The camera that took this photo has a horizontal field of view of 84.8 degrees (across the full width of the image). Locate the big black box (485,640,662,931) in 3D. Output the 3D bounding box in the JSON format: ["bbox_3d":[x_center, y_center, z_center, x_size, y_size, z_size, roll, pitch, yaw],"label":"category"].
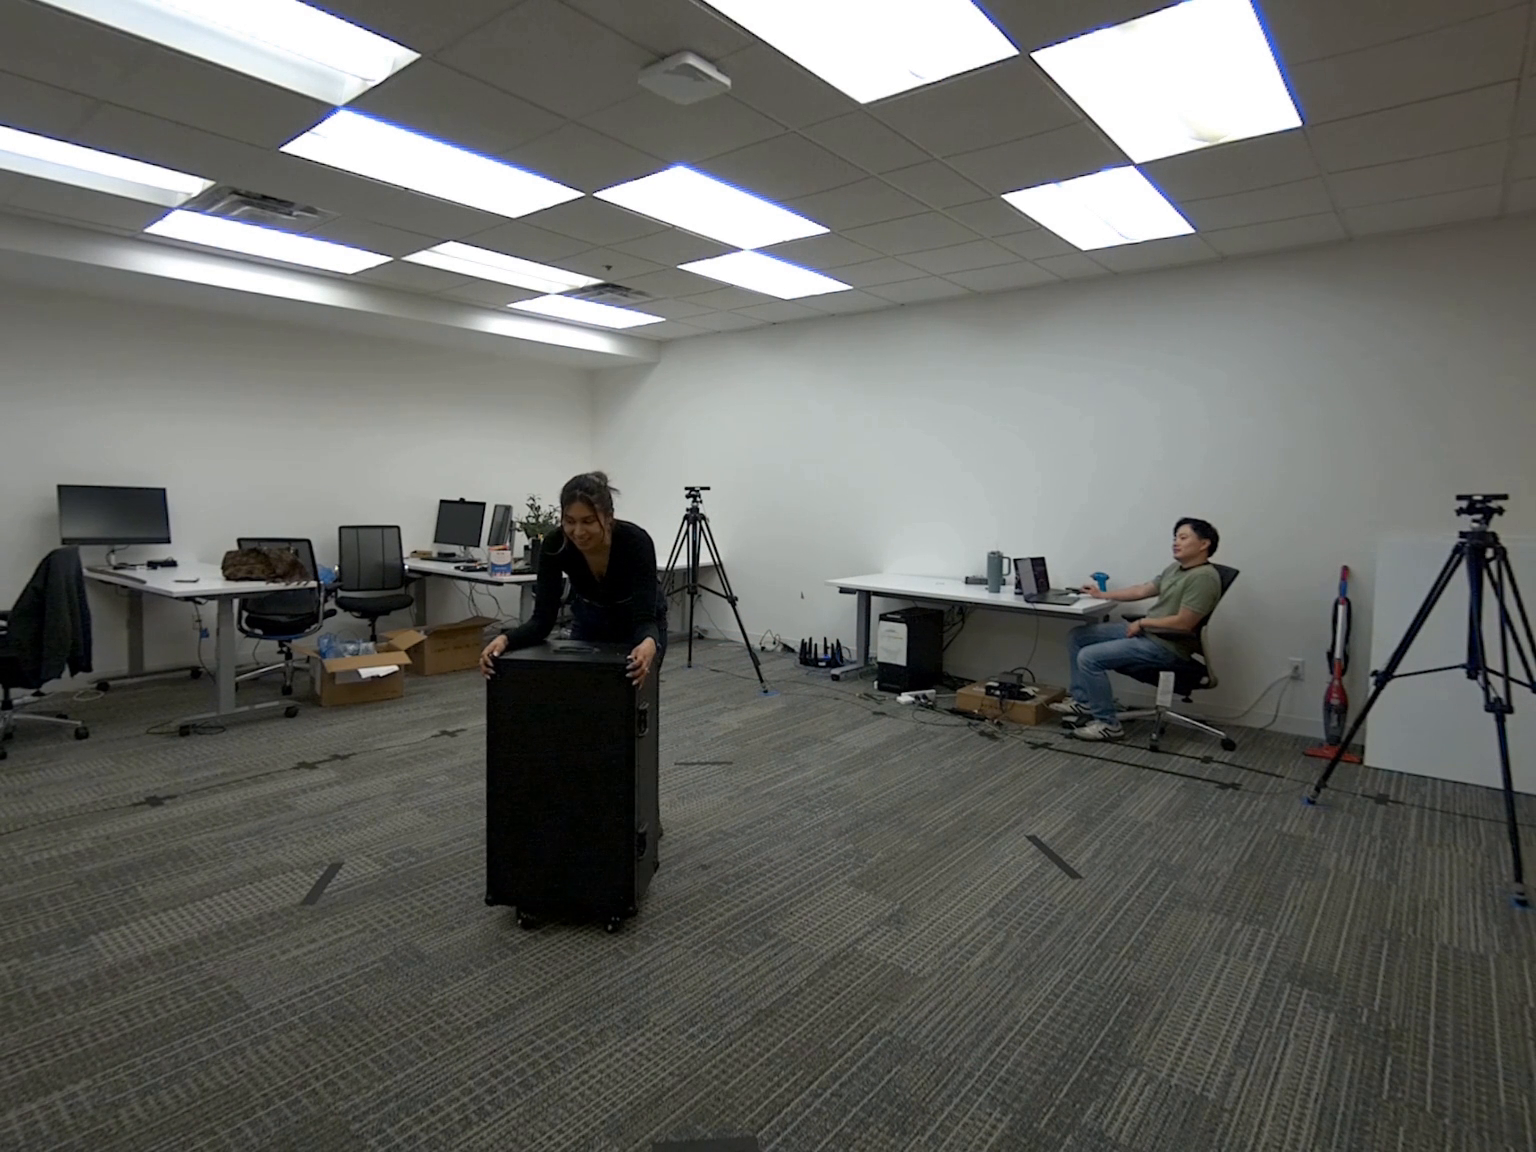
[{"bbox_3d":[-0.641,0.666,2.803,0.526,0.860,0.394,1,2,7],"label":"big black box"}]
